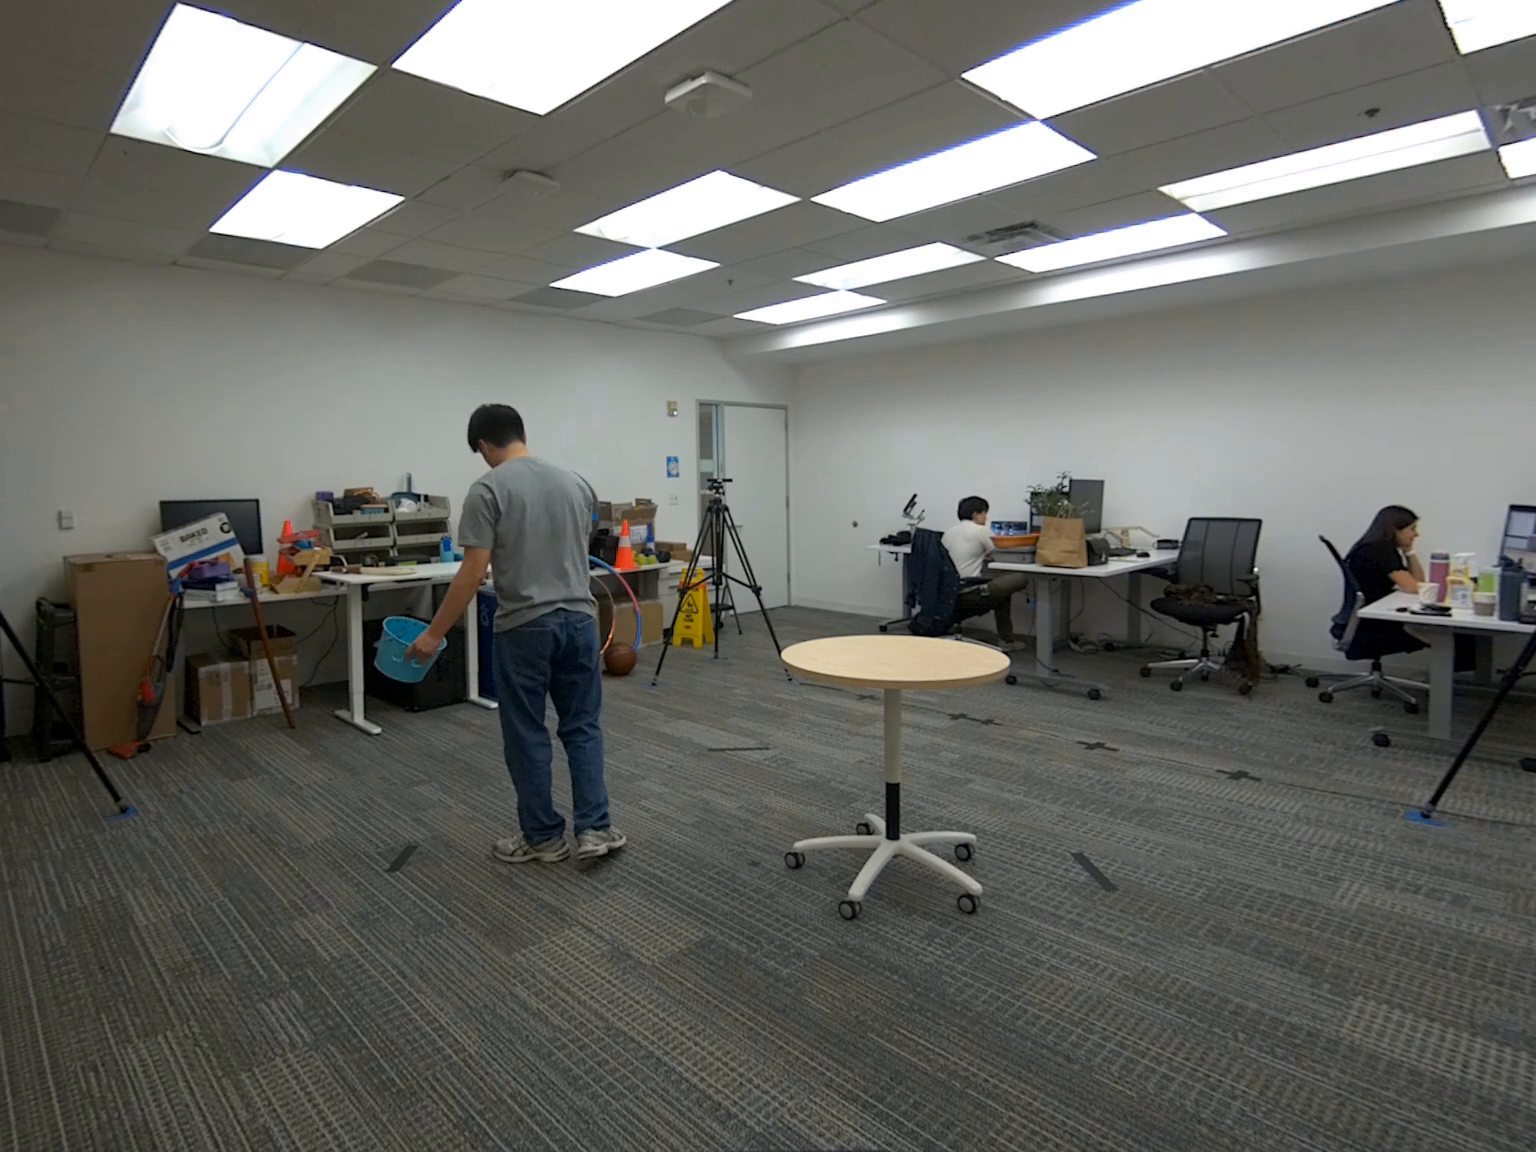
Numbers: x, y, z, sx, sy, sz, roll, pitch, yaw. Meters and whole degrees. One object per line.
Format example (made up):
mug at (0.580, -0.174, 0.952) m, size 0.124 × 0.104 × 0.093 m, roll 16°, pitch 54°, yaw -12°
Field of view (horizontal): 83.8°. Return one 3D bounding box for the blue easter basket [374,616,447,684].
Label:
blue easter basket at (-1.293, 0.281, 3.117) m, size 0.242 × 0.155 × 0.246 m, roll 25°, pitch 10°, yaw -7°
